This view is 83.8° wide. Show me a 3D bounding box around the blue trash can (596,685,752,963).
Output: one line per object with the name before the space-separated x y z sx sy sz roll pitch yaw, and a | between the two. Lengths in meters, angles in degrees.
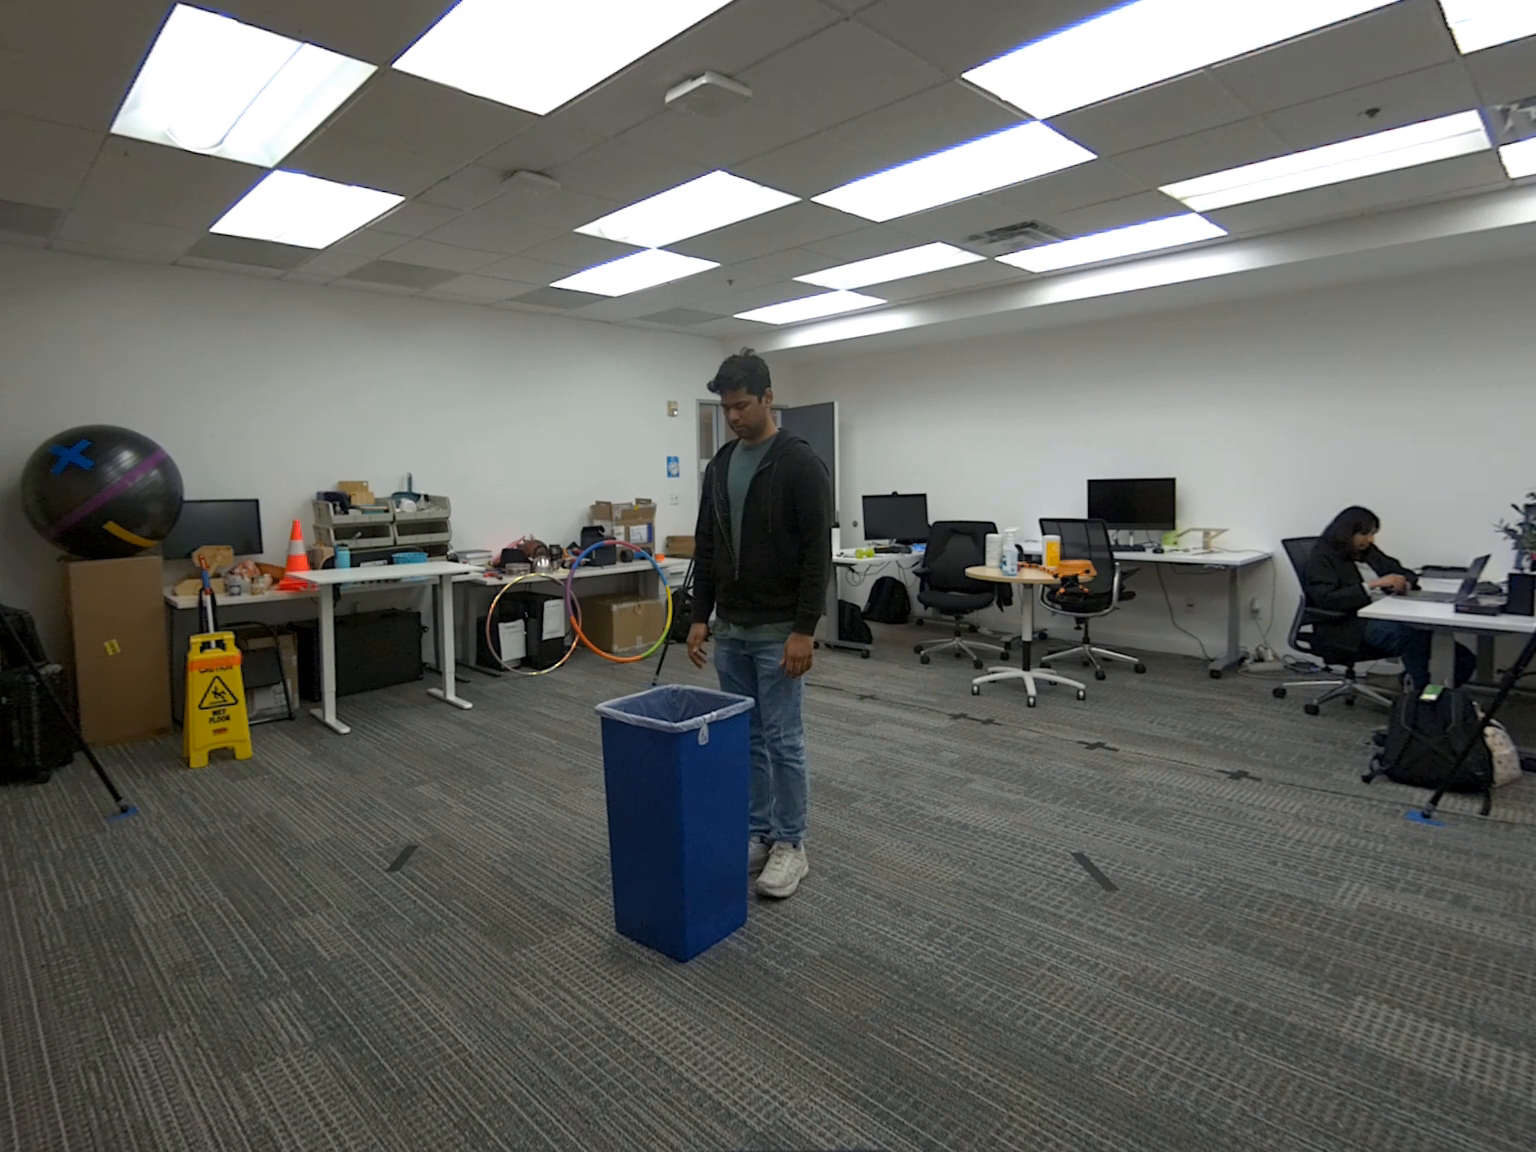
blue trash can | -0.284 0.744 2.657 0.385 0.711 0.368 3 6 38
